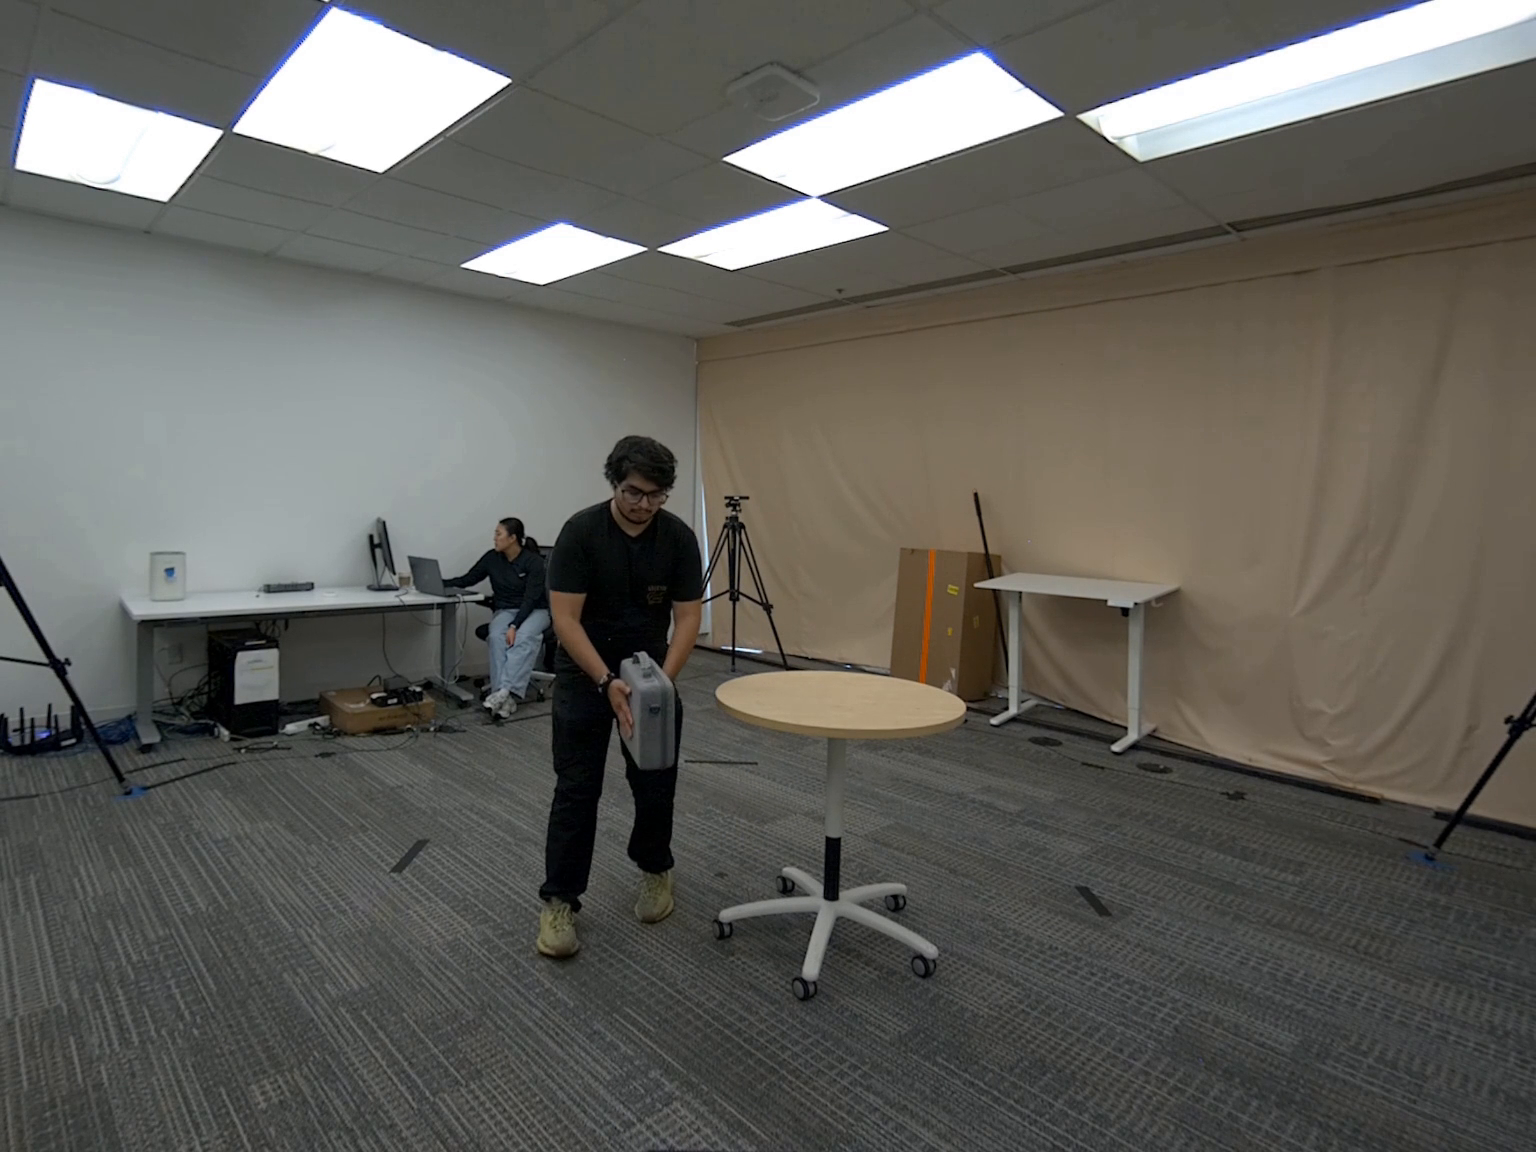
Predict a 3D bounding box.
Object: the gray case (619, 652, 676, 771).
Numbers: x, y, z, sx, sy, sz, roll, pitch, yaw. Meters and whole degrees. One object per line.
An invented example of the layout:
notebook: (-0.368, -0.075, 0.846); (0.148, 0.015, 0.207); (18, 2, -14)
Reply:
gray case: (-0.355, 0.383, 2.361); (0.103, 0.258, 0.262); (1, 13, -18)
